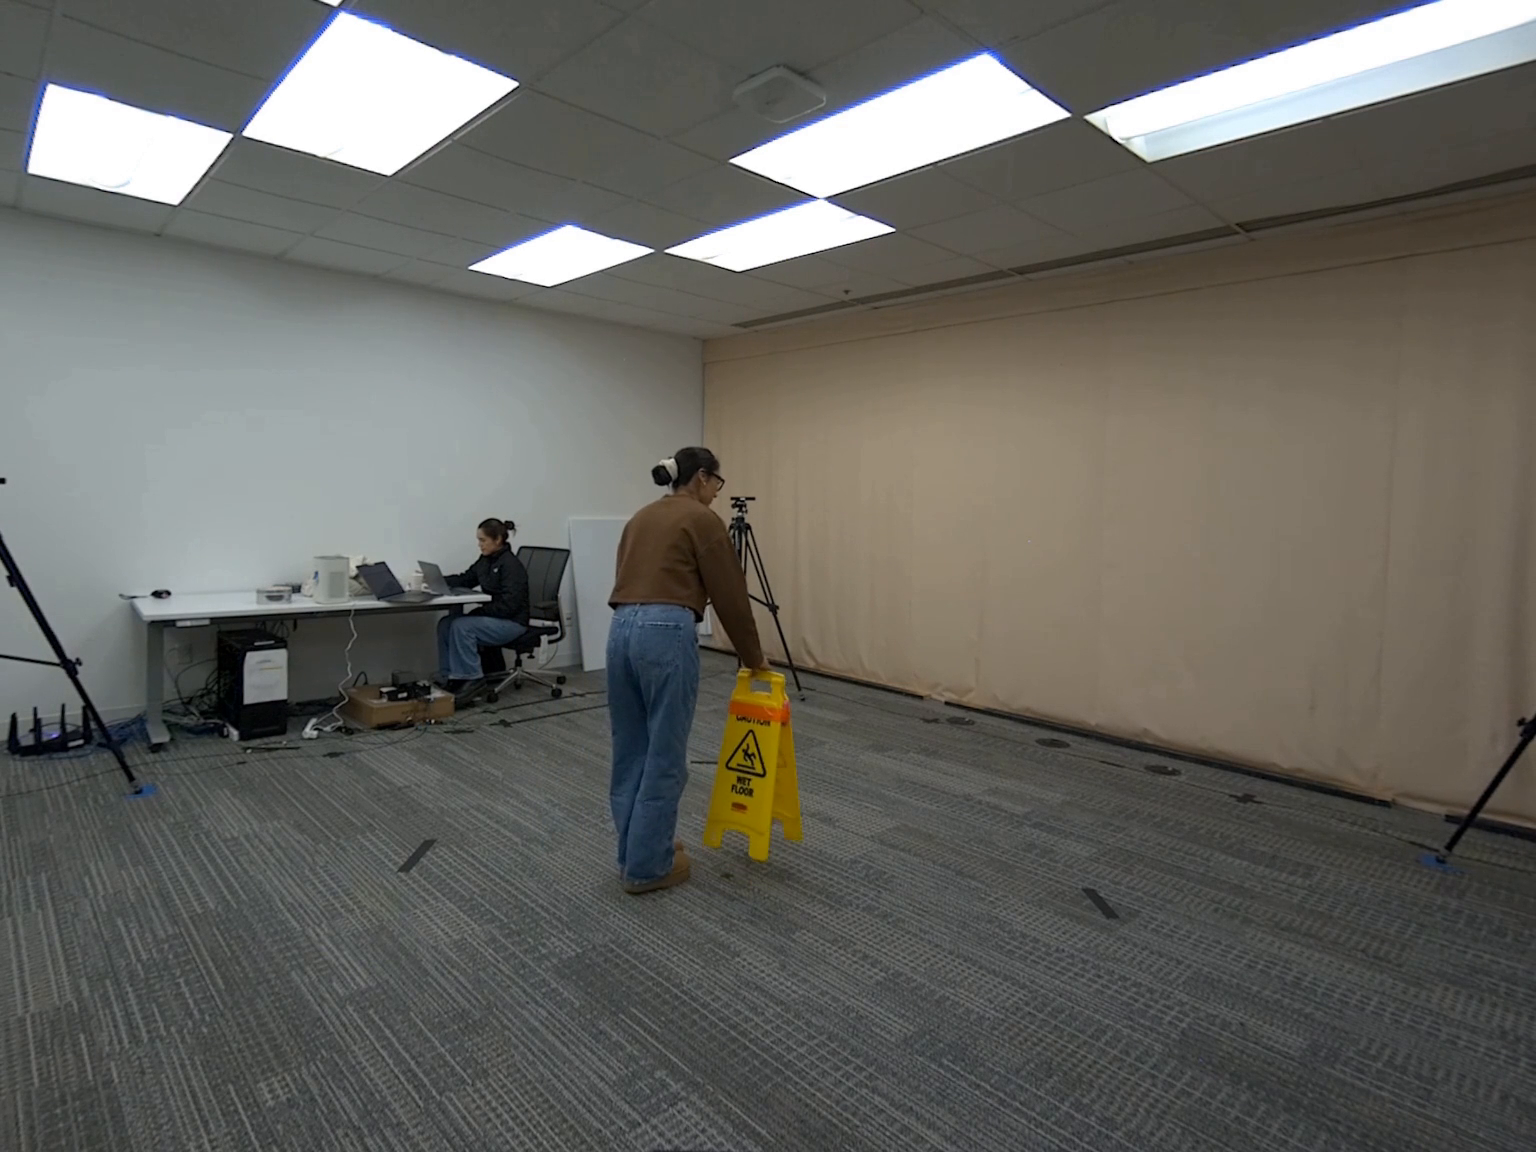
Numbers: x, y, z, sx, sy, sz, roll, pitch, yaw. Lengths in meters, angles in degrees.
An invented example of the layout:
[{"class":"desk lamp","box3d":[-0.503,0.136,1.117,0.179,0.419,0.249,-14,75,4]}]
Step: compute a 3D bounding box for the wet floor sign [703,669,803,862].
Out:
[{"class":"wet floor sign","box3d":[-0.049,0.691,3.180,0.288,0.646,0.283,3,0,31]}]
